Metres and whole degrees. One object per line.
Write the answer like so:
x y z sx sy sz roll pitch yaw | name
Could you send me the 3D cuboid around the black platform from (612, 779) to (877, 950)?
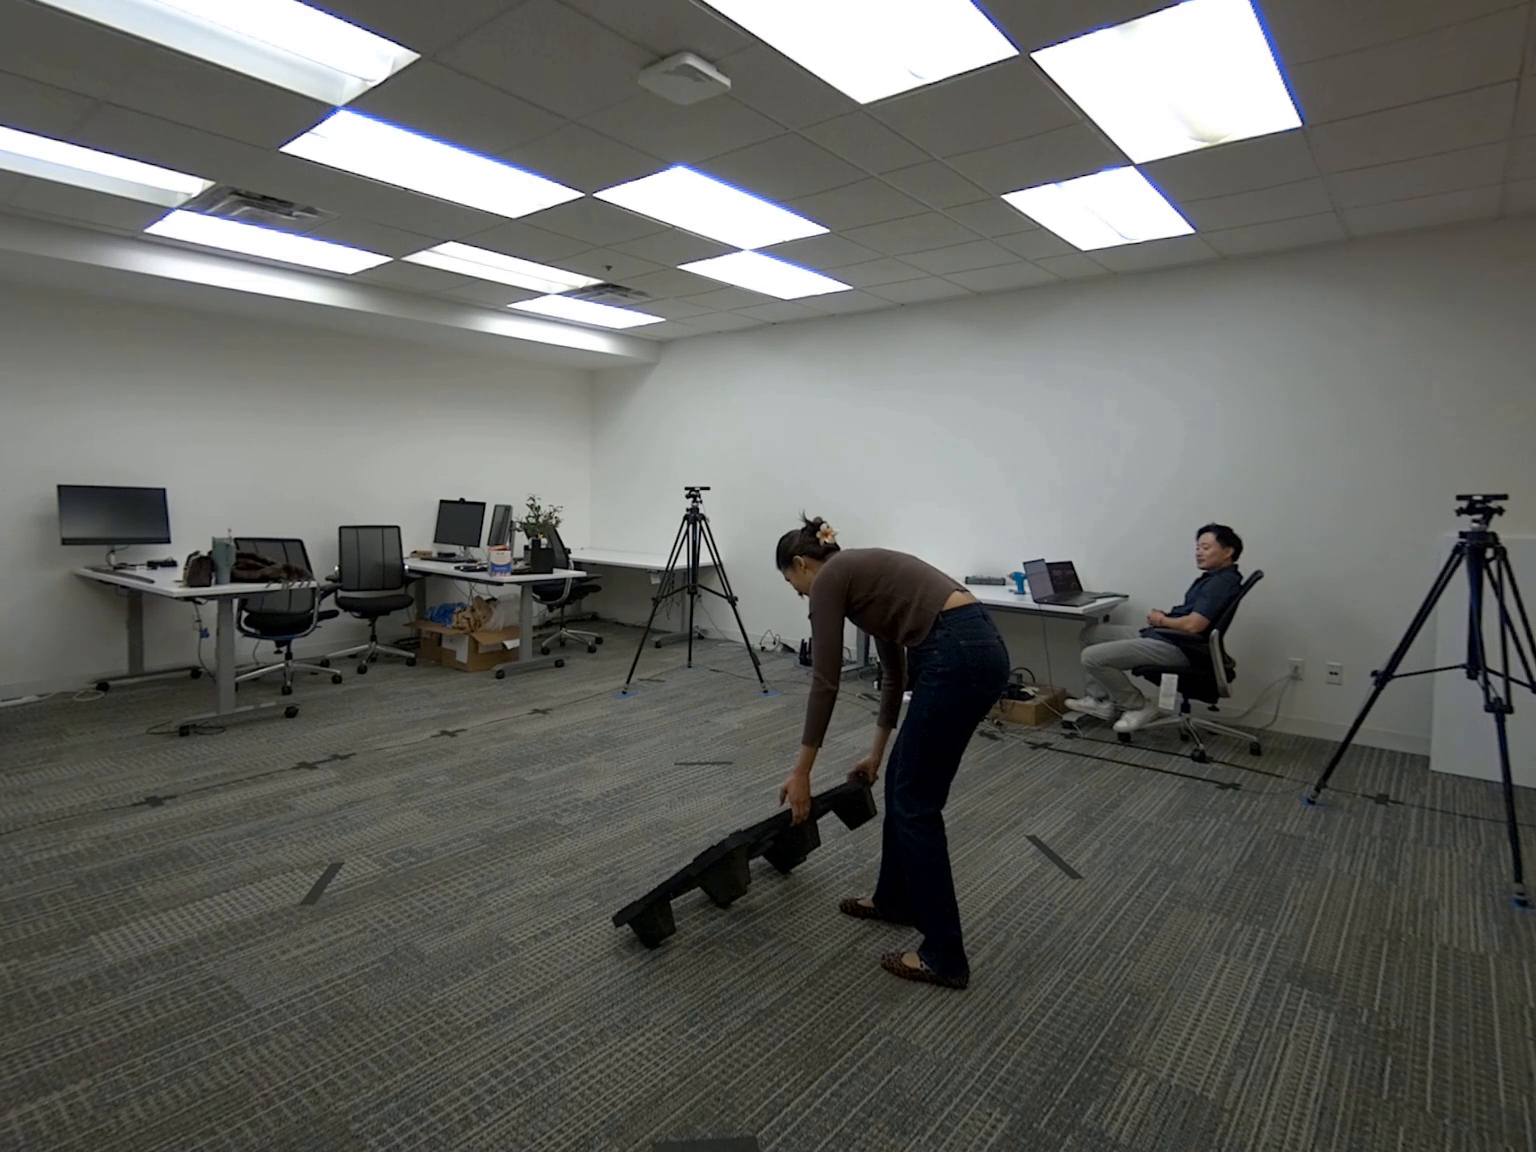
-0.042 0.904 2.725 0.782 0.147 0.606 -5 -33 -51 | black platform
